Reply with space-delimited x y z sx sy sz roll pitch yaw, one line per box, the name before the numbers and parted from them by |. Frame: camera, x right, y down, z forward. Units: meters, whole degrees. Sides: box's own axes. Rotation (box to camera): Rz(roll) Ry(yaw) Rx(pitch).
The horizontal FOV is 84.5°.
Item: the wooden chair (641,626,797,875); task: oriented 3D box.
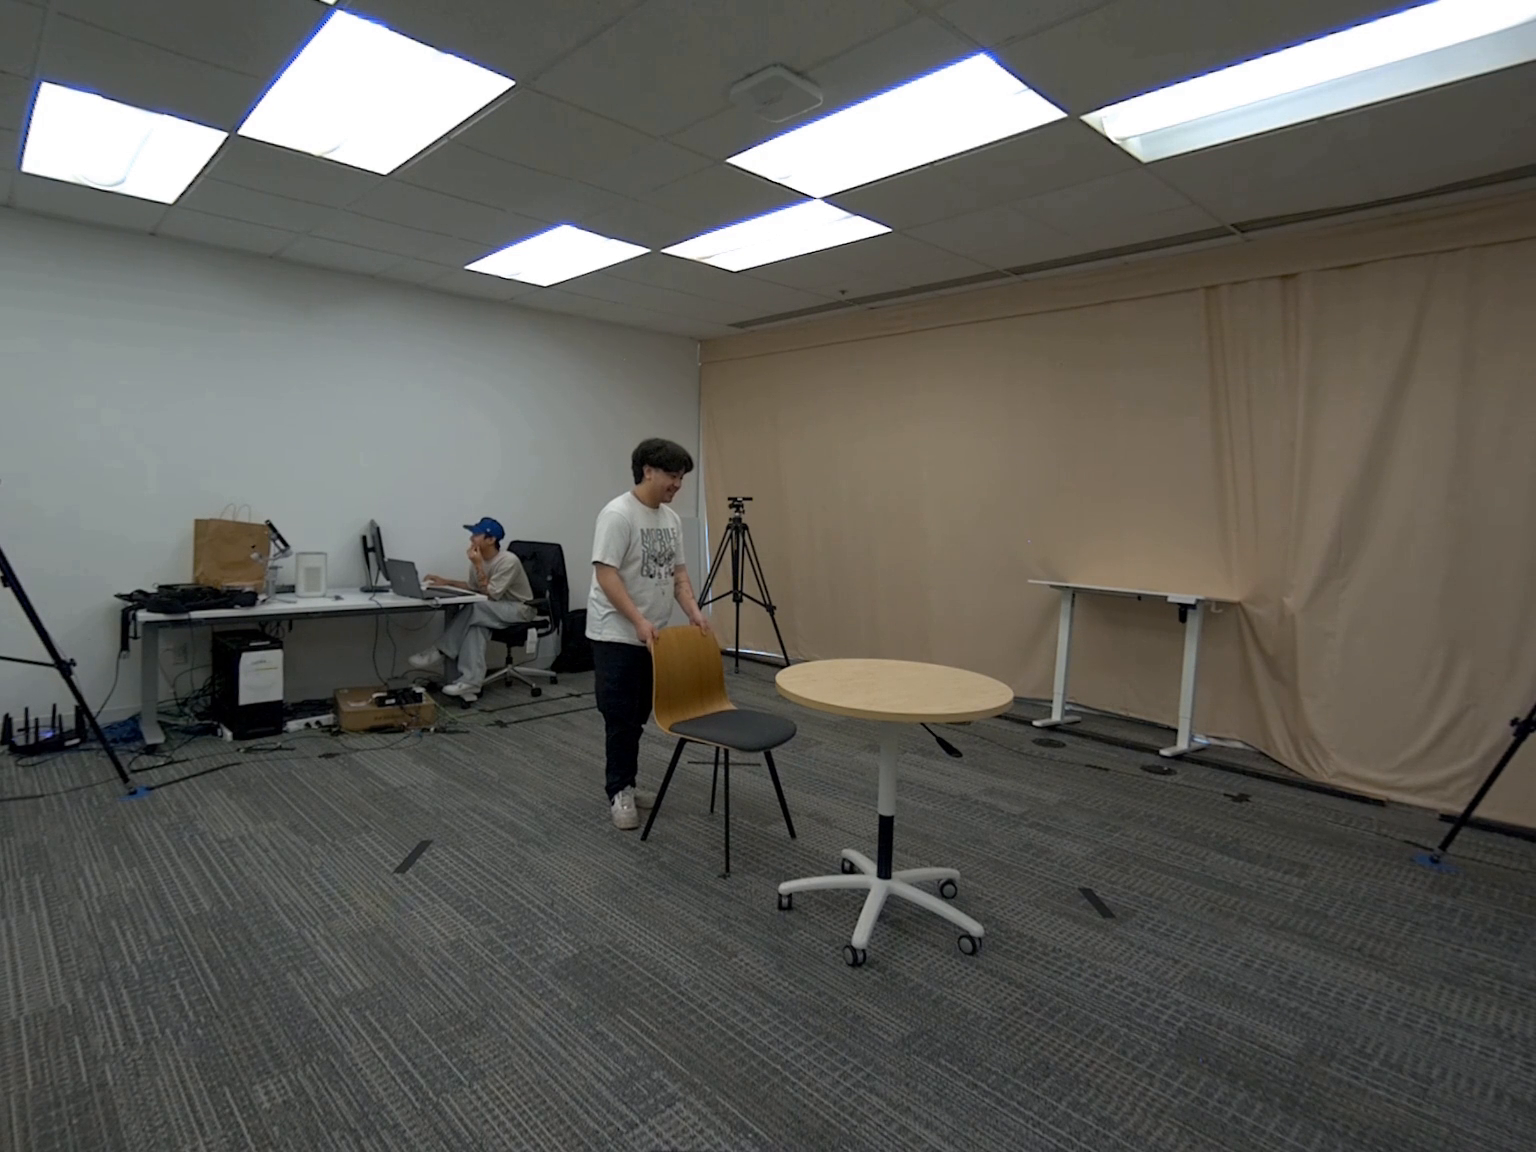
wooden chair | -0.189 0.651 3.403 0.535 0.877 0.467 -2 0 38
